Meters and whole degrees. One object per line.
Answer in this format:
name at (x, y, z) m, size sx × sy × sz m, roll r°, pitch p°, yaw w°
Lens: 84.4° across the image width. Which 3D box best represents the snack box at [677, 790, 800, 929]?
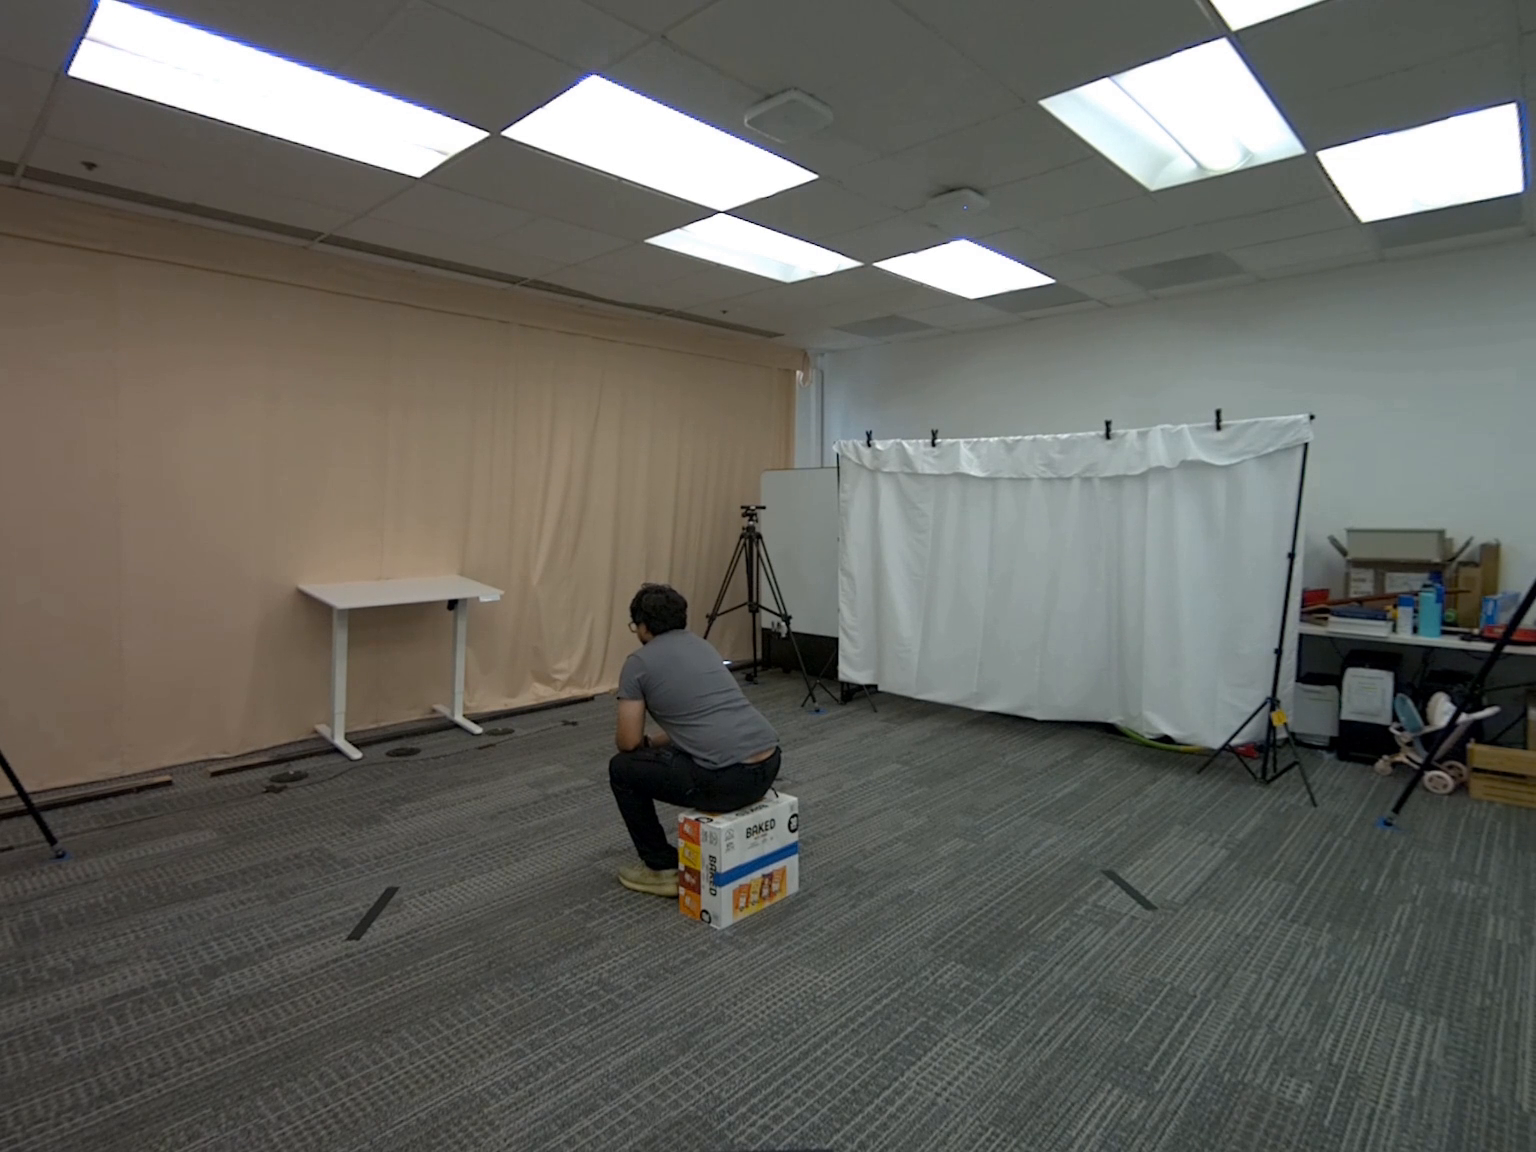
snack box at (-0.093, 0.979, 2.963) m, size 0.212 × 0.340 × 0.393 m, roll 2°, pitch 4°, yaw 43°
